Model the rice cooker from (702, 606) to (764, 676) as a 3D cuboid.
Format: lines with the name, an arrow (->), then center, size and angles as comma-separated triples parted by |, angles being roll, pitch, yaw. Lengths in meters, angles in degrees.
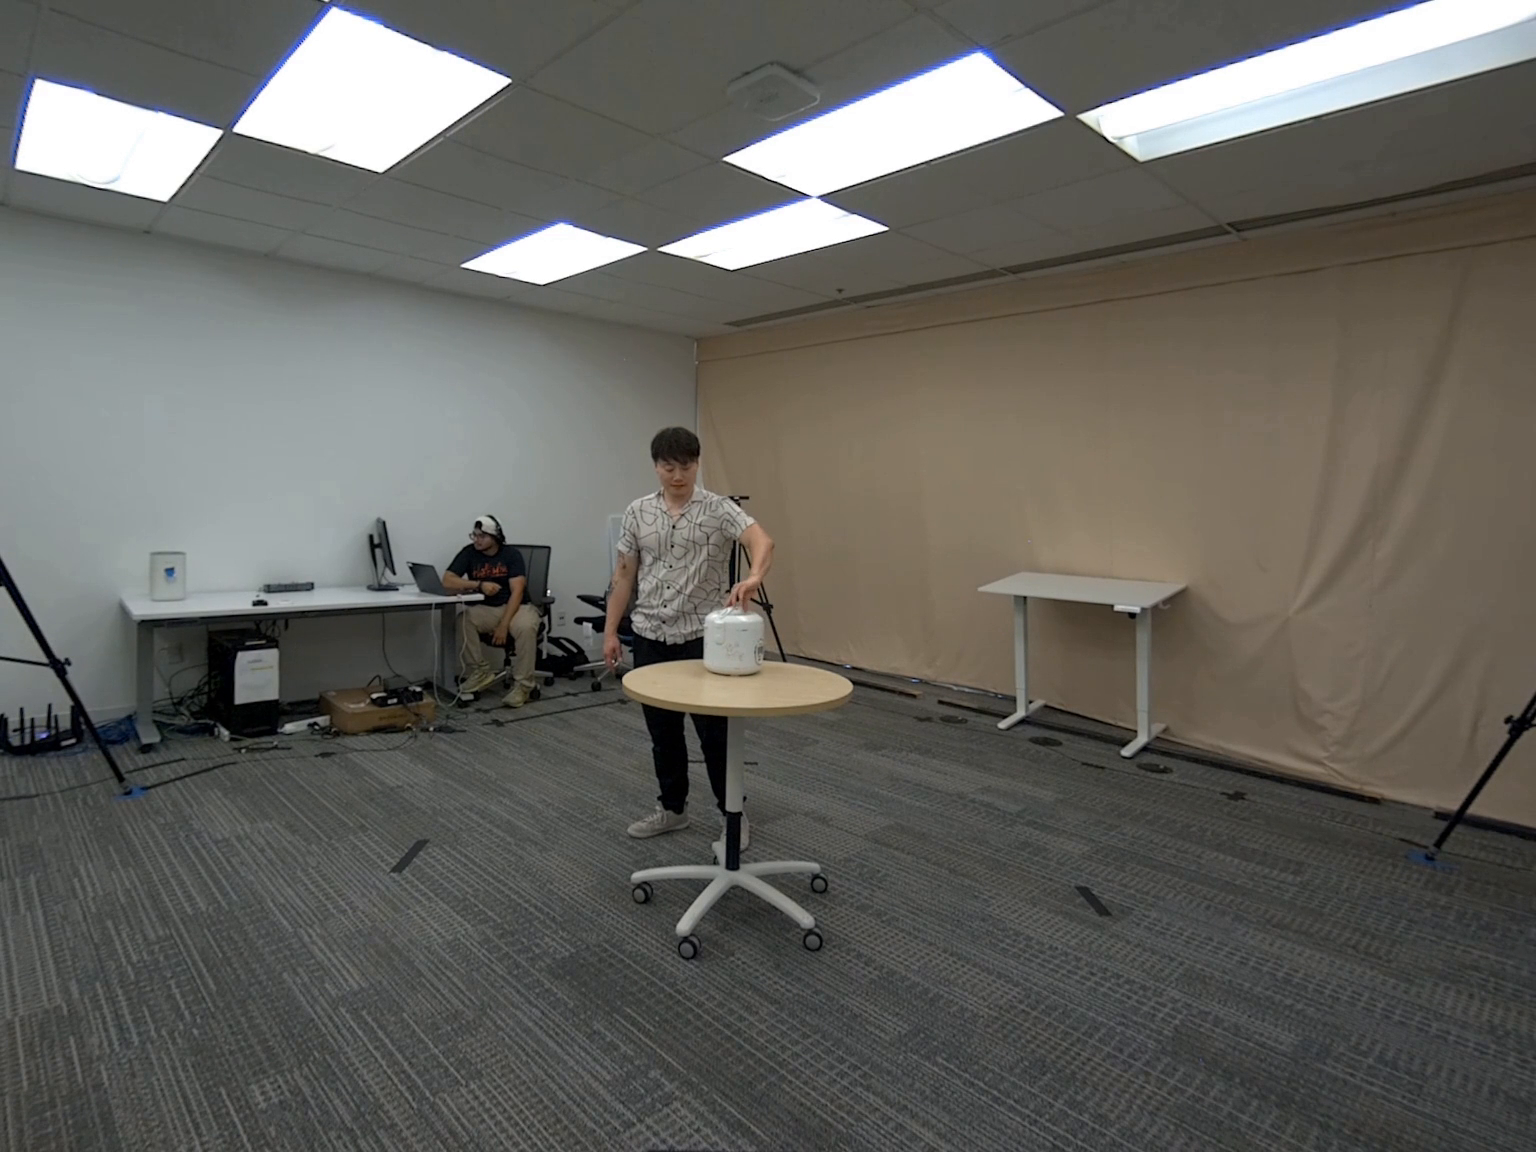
rice cooker -> -0.123, 0.218, 2.953 | 0.222, 0.232, 0.216 | 3, 4, 30
